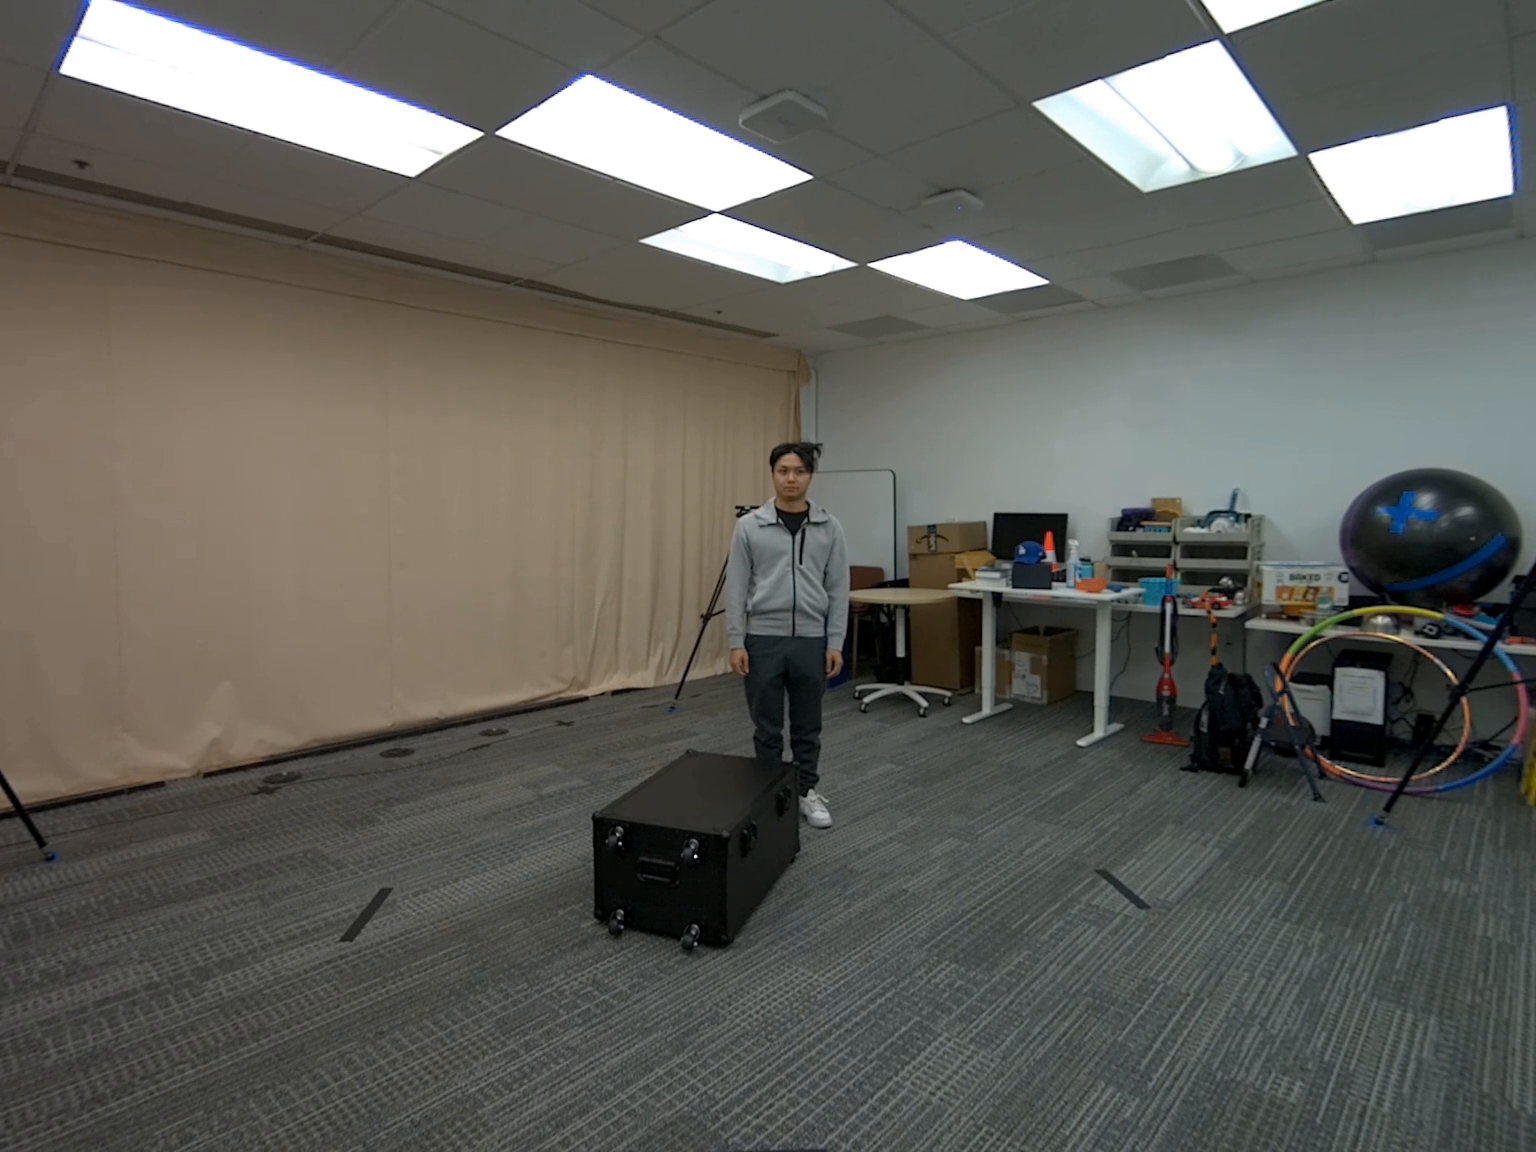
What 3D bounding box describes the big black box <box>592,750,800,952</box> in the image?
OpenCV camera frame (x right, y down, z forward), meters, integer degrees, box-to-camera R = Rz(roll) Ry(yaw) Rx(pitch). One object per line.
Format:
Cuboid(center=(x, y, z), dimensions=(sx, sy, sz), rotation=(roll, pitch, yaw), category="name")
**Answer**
Cuboid(center=(-0.215, 0.944, 3.087), dimensions=(0.533, 0.395, 0.845), rotation=(2, 6, 20), category="big black box")
